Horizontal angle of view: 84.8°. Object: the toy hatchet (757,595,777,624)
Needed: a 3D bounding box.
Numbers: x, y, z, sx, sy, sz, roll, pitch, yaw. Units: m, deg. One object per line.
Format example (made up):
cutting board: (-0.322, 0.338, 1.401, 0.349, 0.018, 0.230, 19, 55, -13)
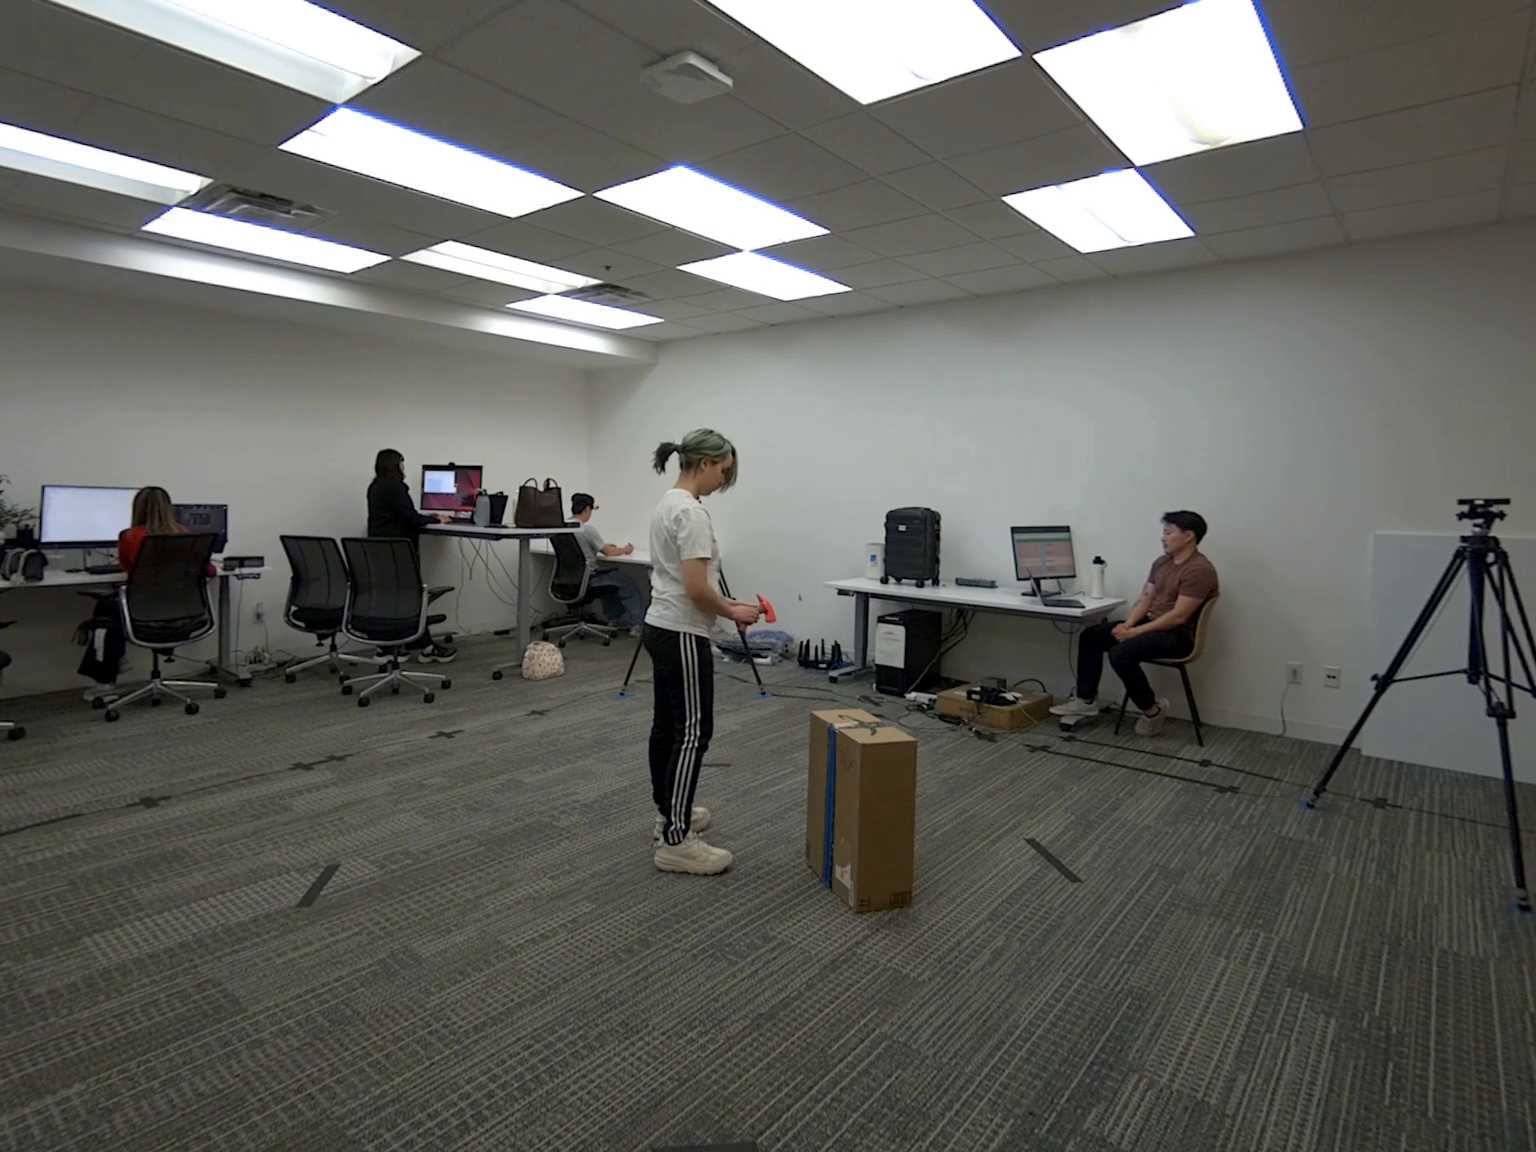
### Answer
toy hatchet: (-0.051, 0.176, 3.338, 0.030, 0.130, 0.271, -37, 10, 34)
